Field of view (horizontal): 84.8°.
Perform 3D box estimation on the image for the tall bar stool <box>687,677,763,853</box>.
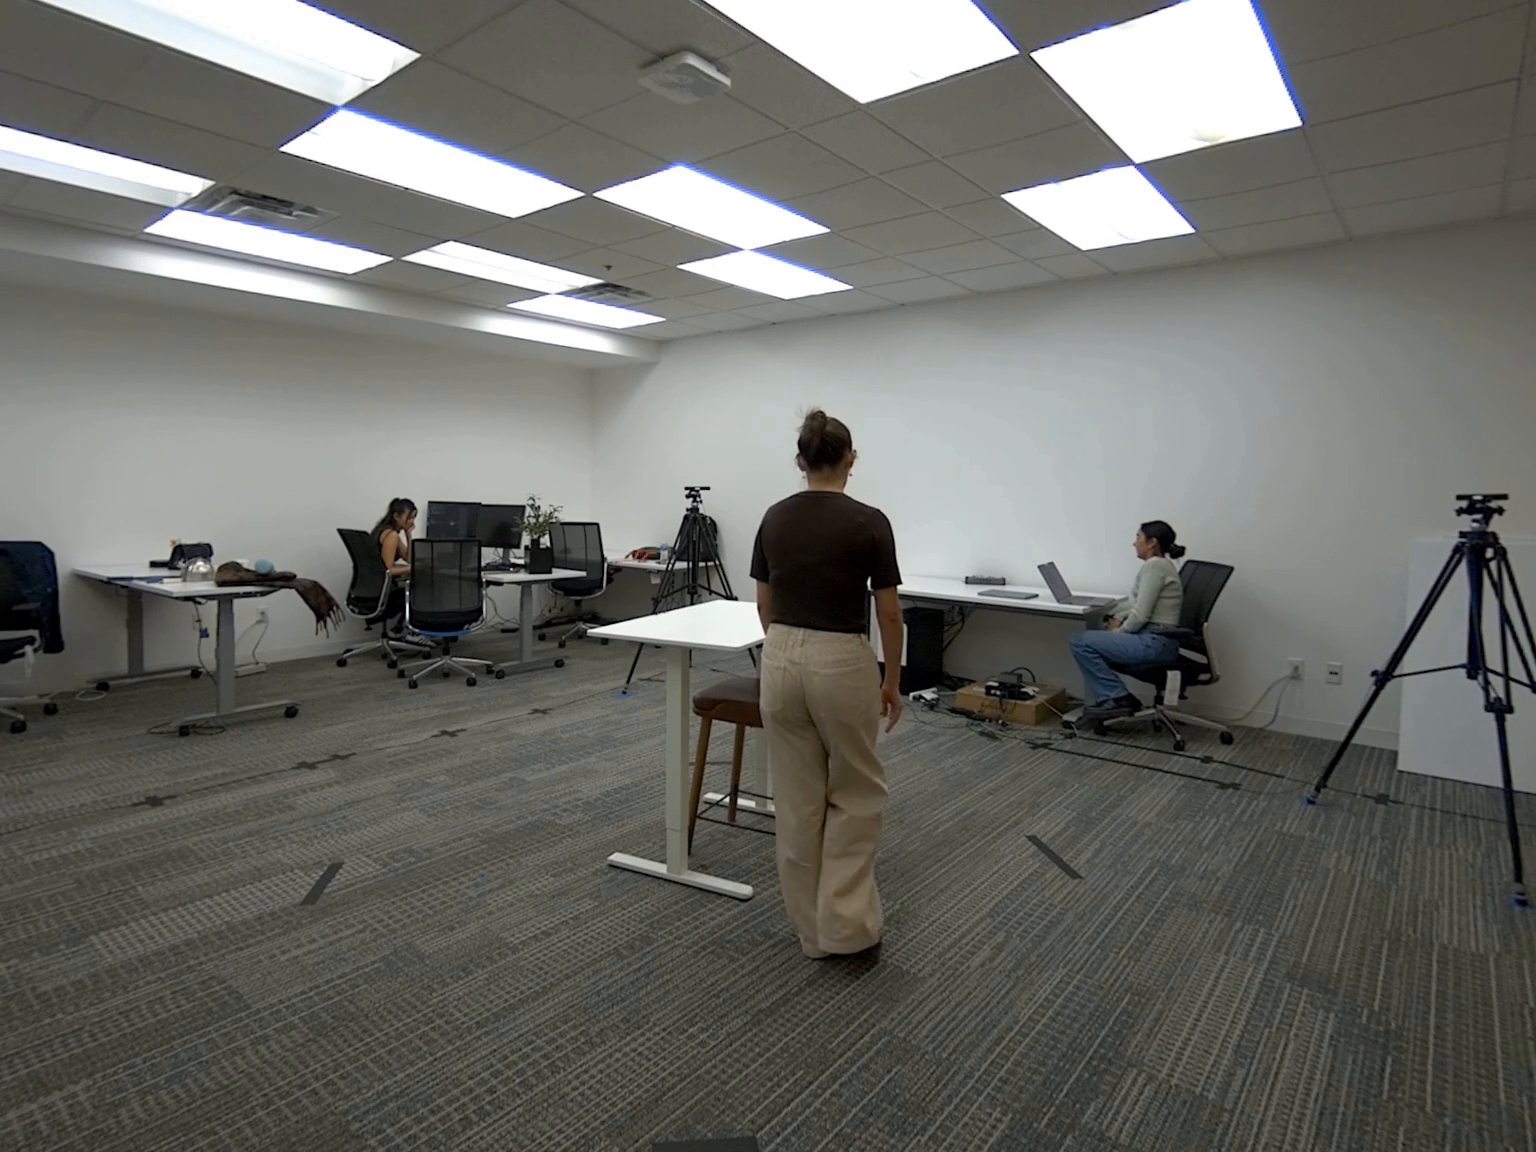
[{"bbox_3d":[-0.034,0.619,3.263,0.480,0.887,0.446,4,4,26],"label":"tall bar stool"}]
